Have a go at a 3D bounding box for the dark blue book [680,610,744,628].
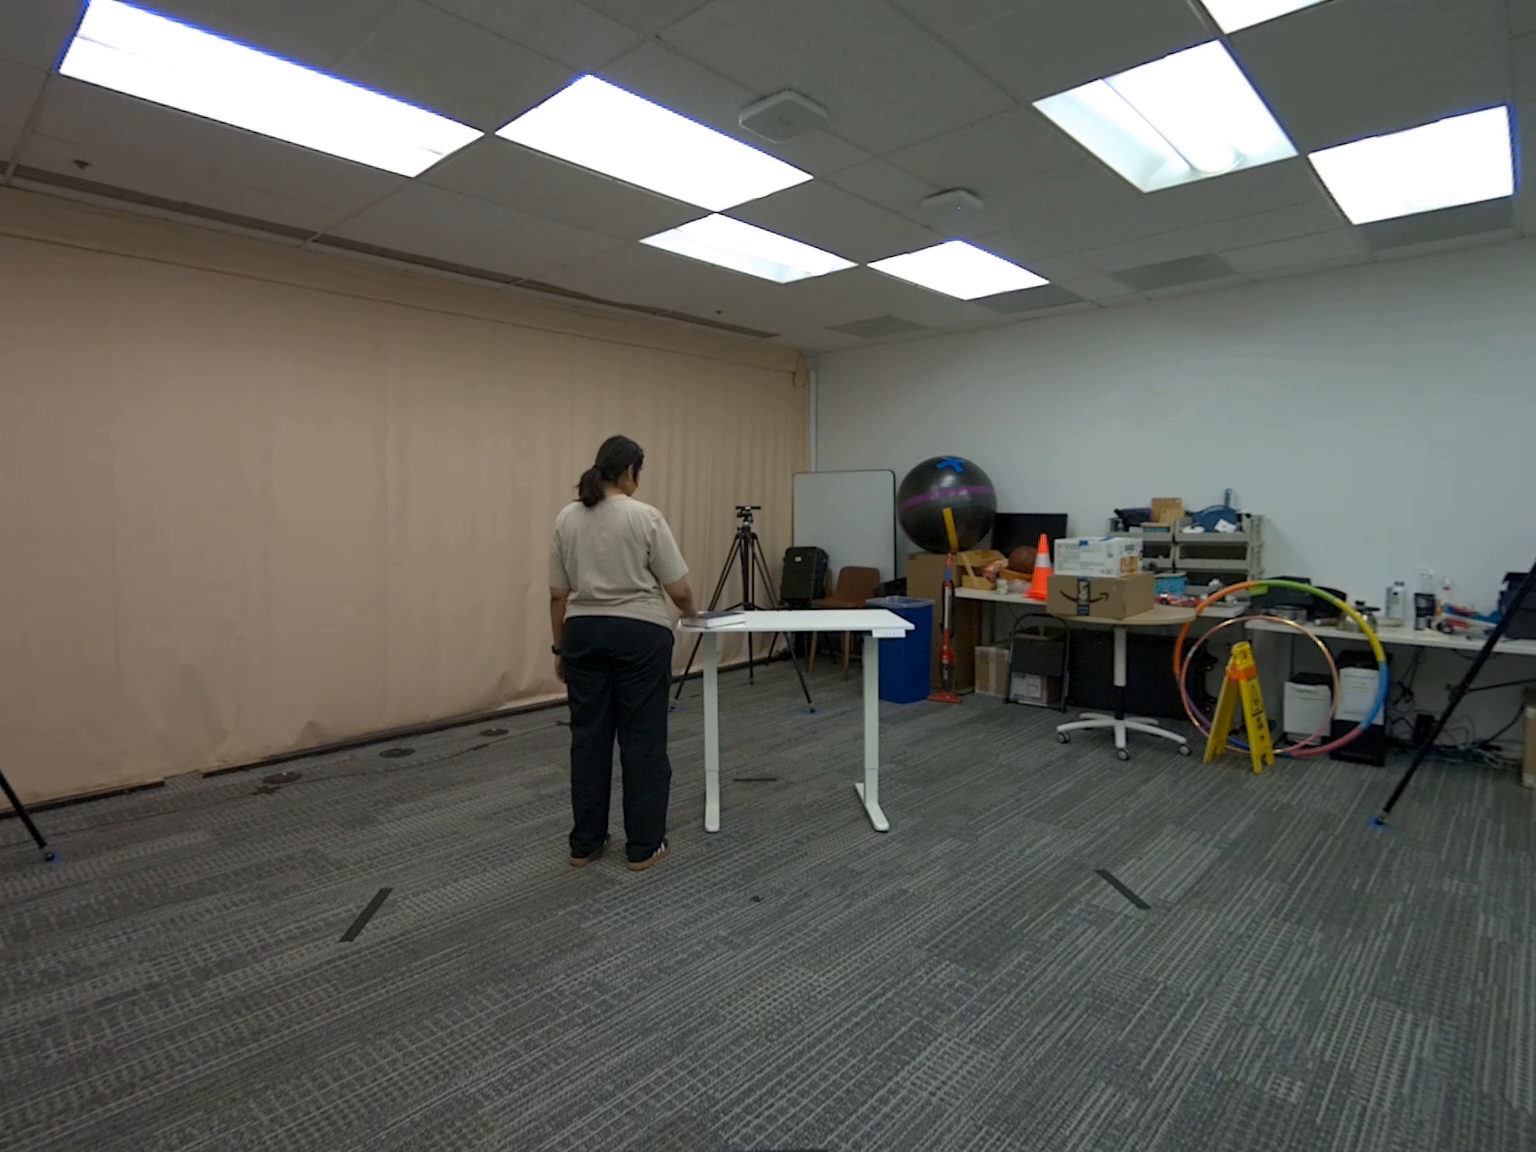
[{"bbox_3d":[-0.233,0.189,3.675,0.169,0.045,0.238,1,5,42],"label":"dark blue book"}]
